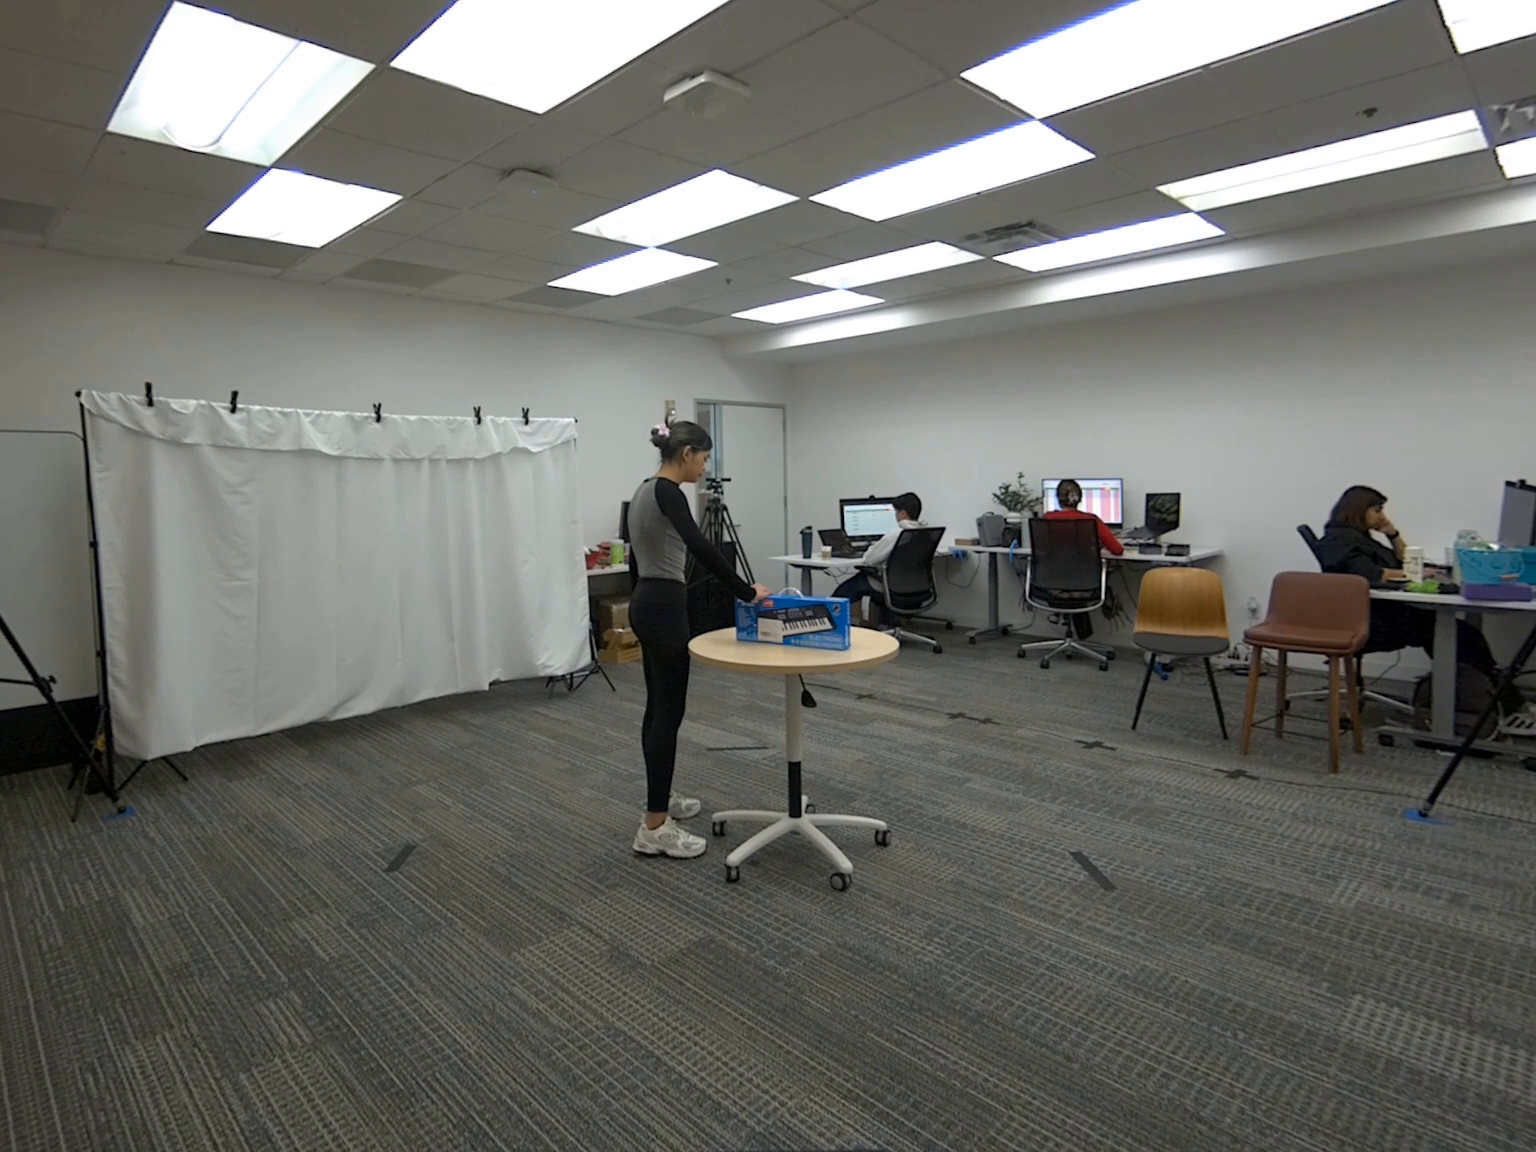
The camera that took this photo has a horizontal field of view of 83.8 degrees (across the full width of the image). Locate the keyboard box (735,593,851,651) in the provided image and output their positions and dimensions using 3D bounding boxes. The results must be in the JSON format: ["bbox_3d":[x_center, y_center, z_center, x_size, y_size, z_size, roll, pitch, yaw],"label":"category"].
[{"bbox_3d":[0.086,0.162,3.089,0.448,0.175,0.058,2,6,31],"label":"keyboard box"}]
